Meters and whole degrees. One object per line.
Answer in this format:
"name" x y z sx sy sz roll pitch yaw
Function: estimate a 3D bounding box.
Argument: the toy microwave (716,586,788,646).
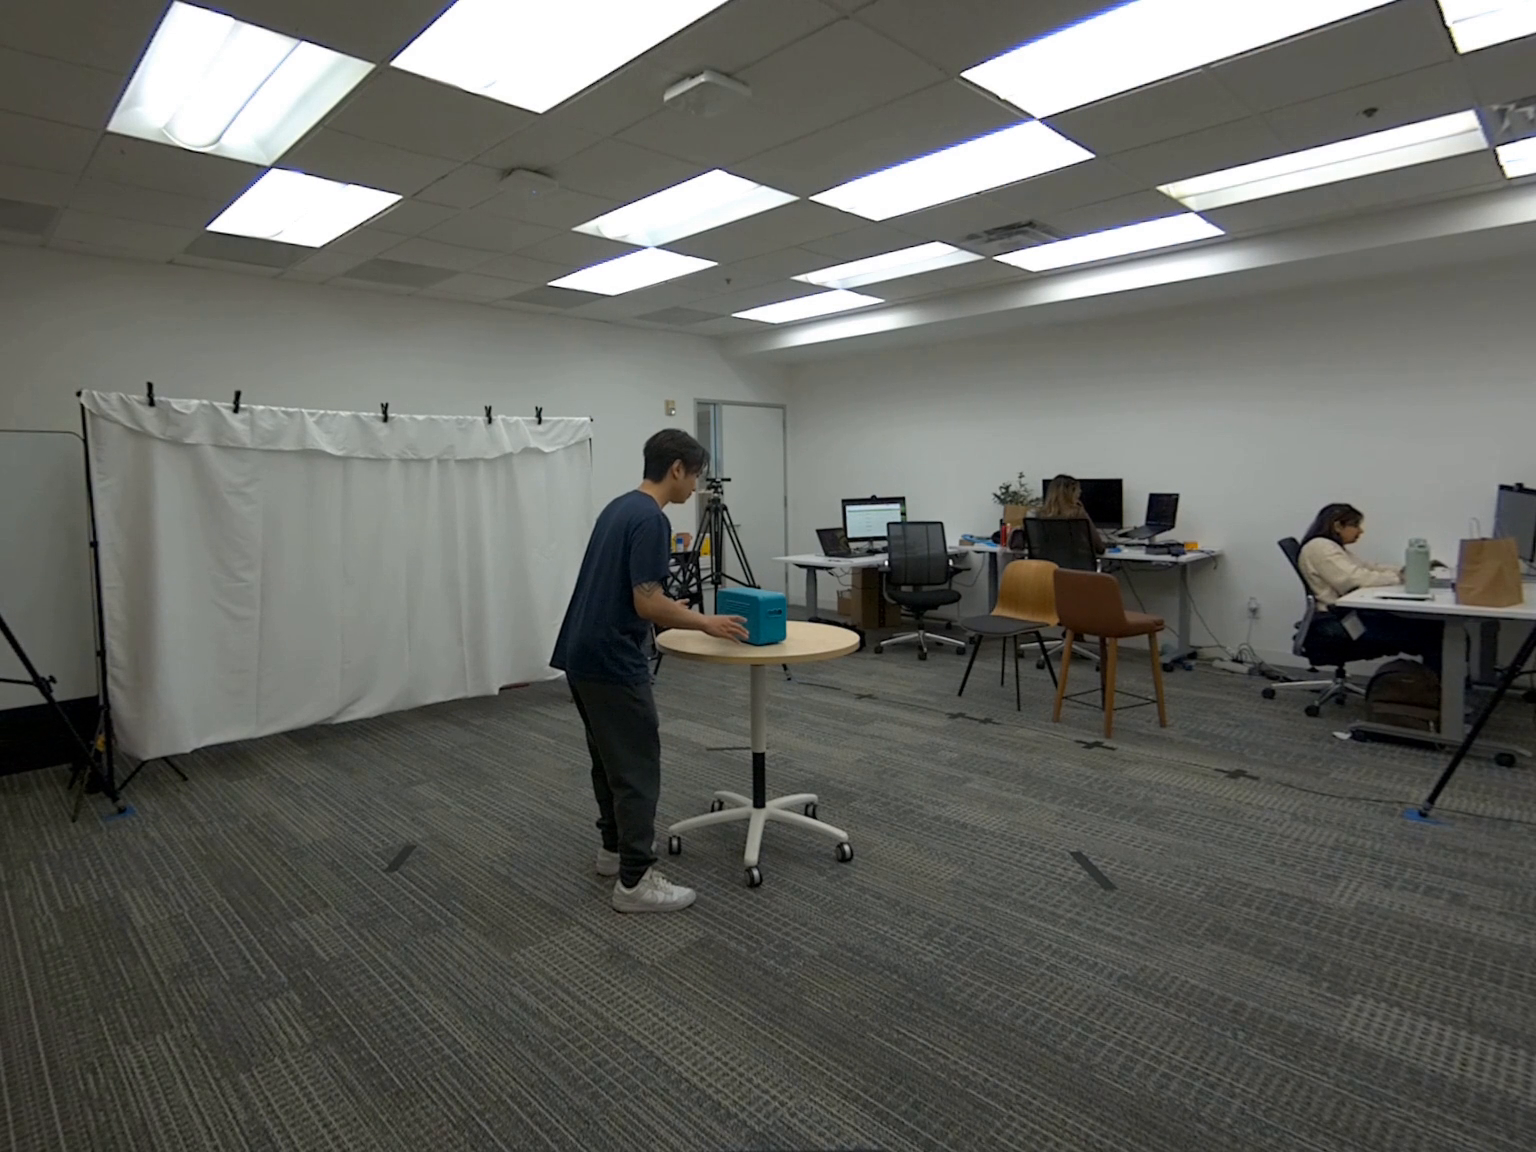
"toy microwave" -0.059 0.143 3.155 0.148 0.183 0.294 -3 5 -35
